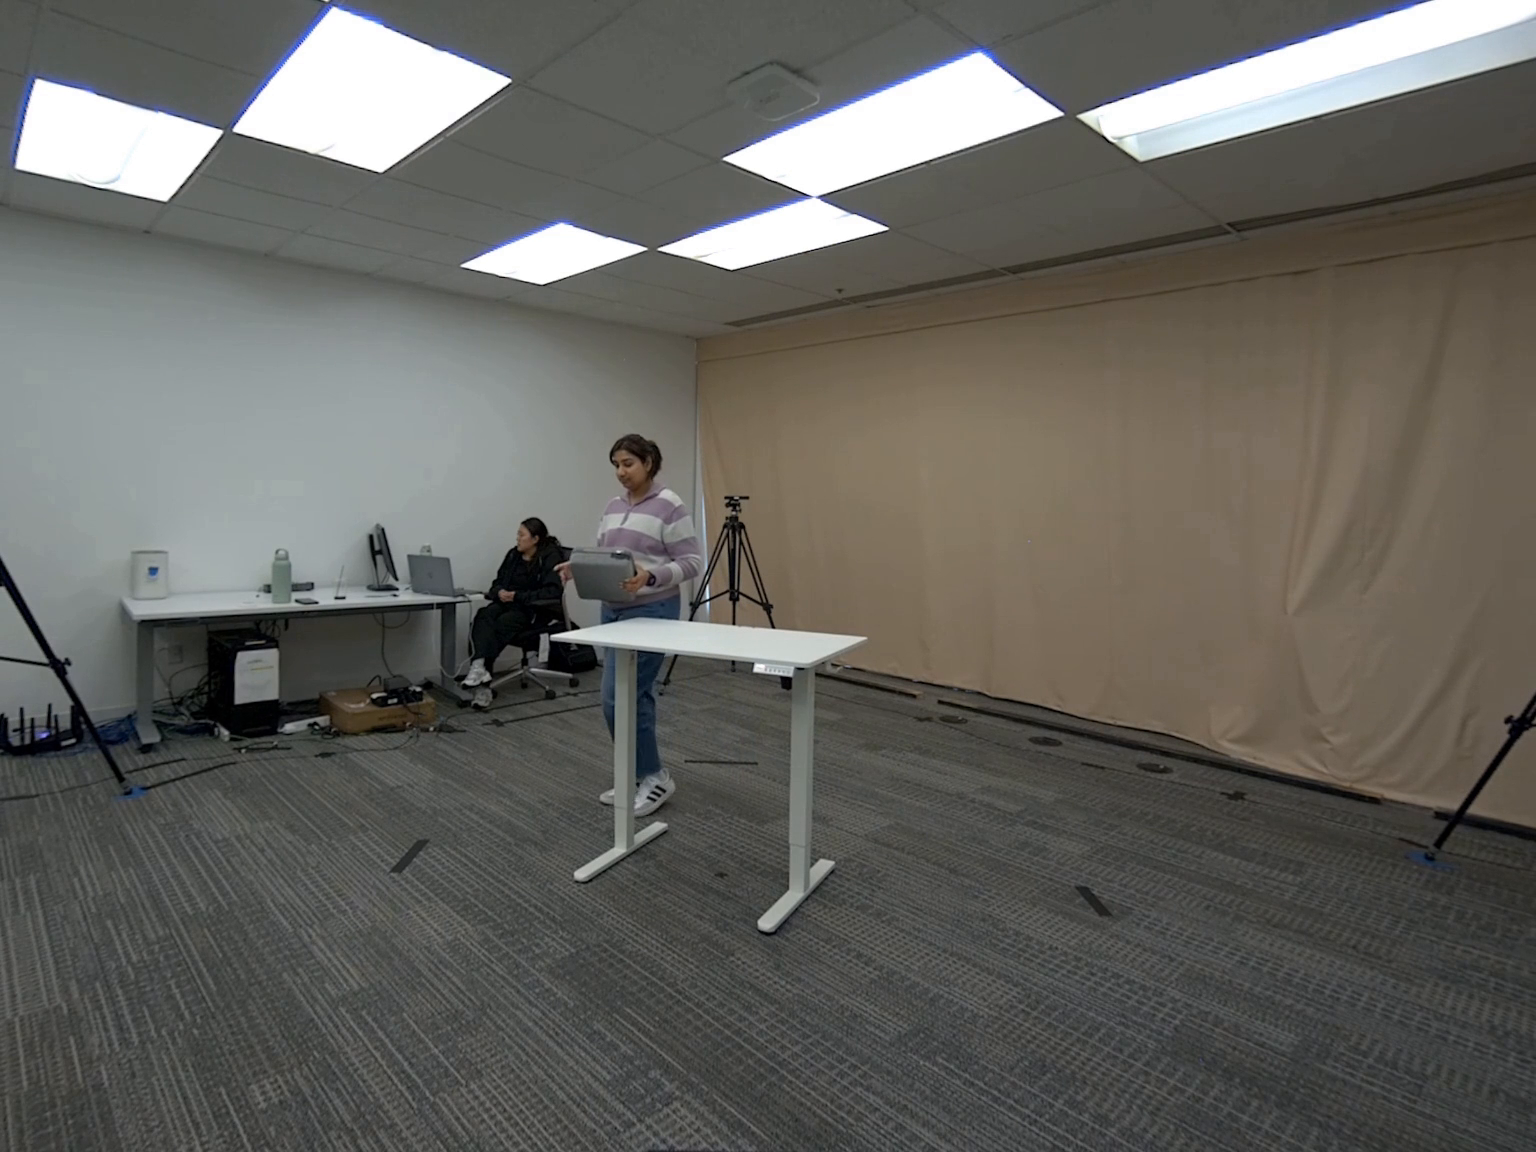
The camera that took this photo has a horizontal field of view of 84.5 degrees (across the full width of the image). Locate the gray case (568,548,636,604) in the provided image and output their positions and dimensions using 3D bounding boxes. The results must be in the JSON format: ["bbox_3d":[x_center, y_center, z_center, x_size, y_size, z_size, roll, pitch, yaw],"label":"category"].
[{"bbox_3d":[-0.698,-0.014,3.485,0.258,0.106,0.255,3,-40,4],"label":"gray case"}]
